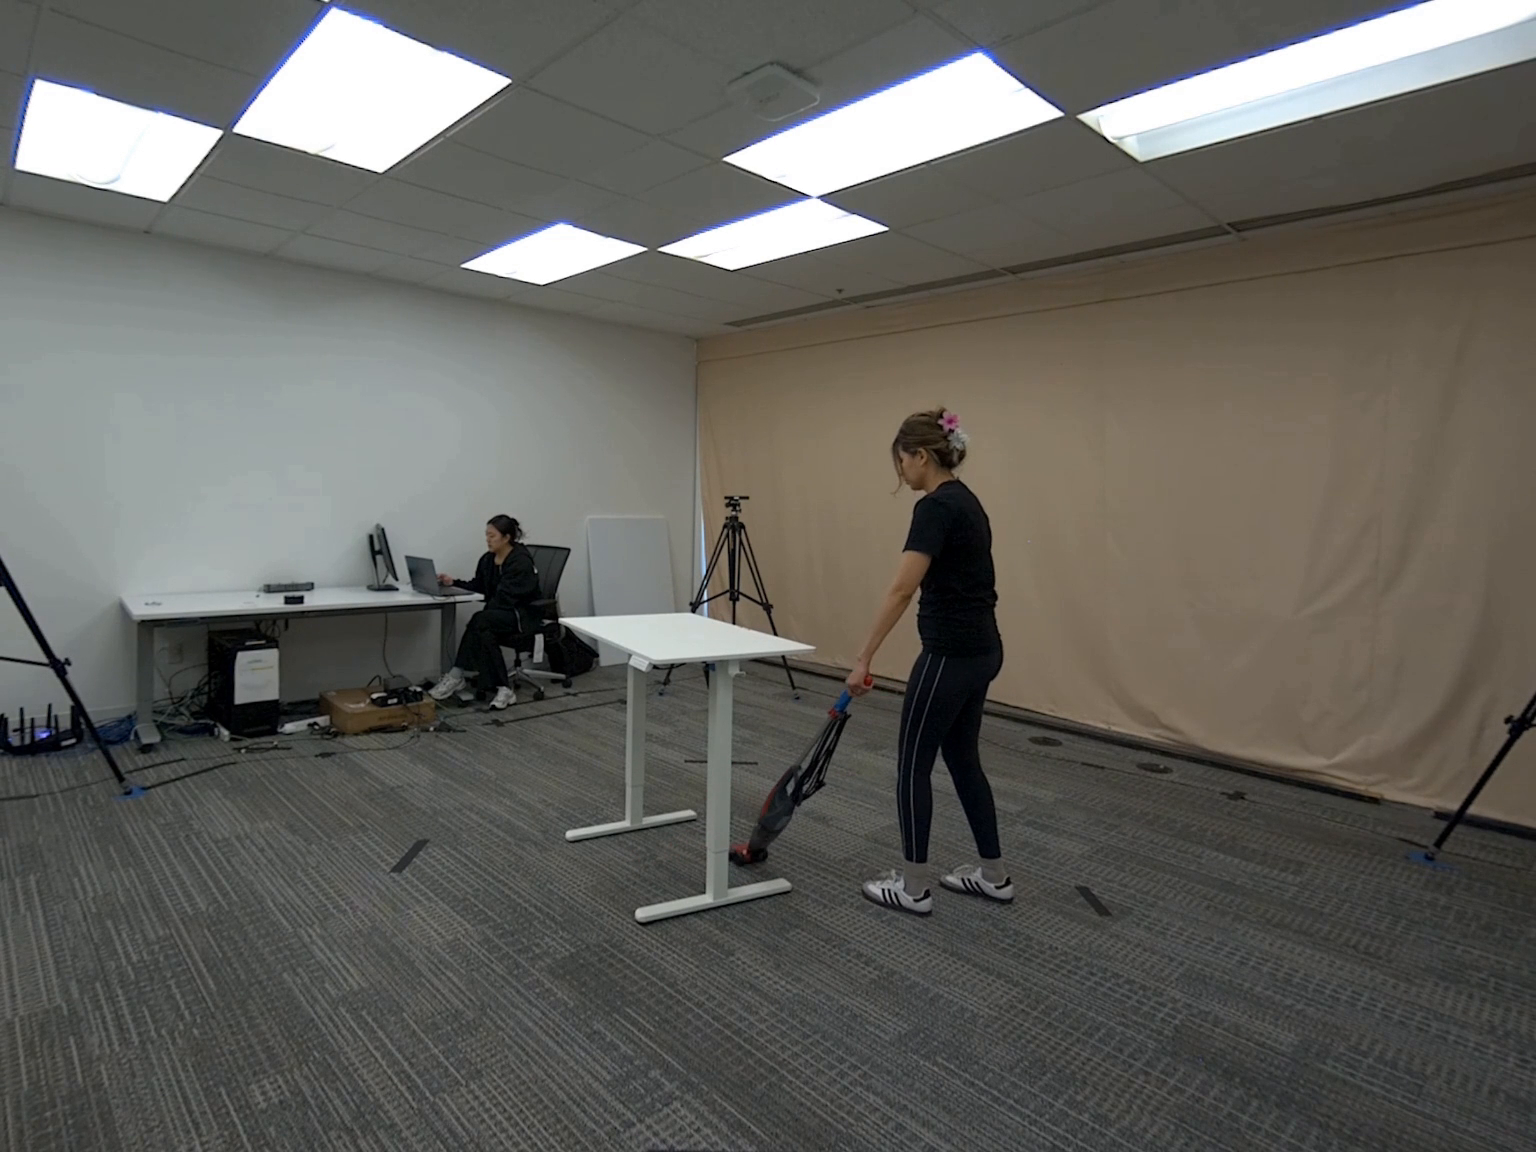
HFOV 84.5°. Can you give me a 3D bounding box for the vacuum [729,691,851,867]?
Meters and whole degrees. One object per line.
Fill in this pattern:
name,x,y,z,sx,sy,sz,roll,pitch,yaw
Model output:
vacuum,0.107,0.717,2.976,0.247,1.041,0.148,-8,51,-41
